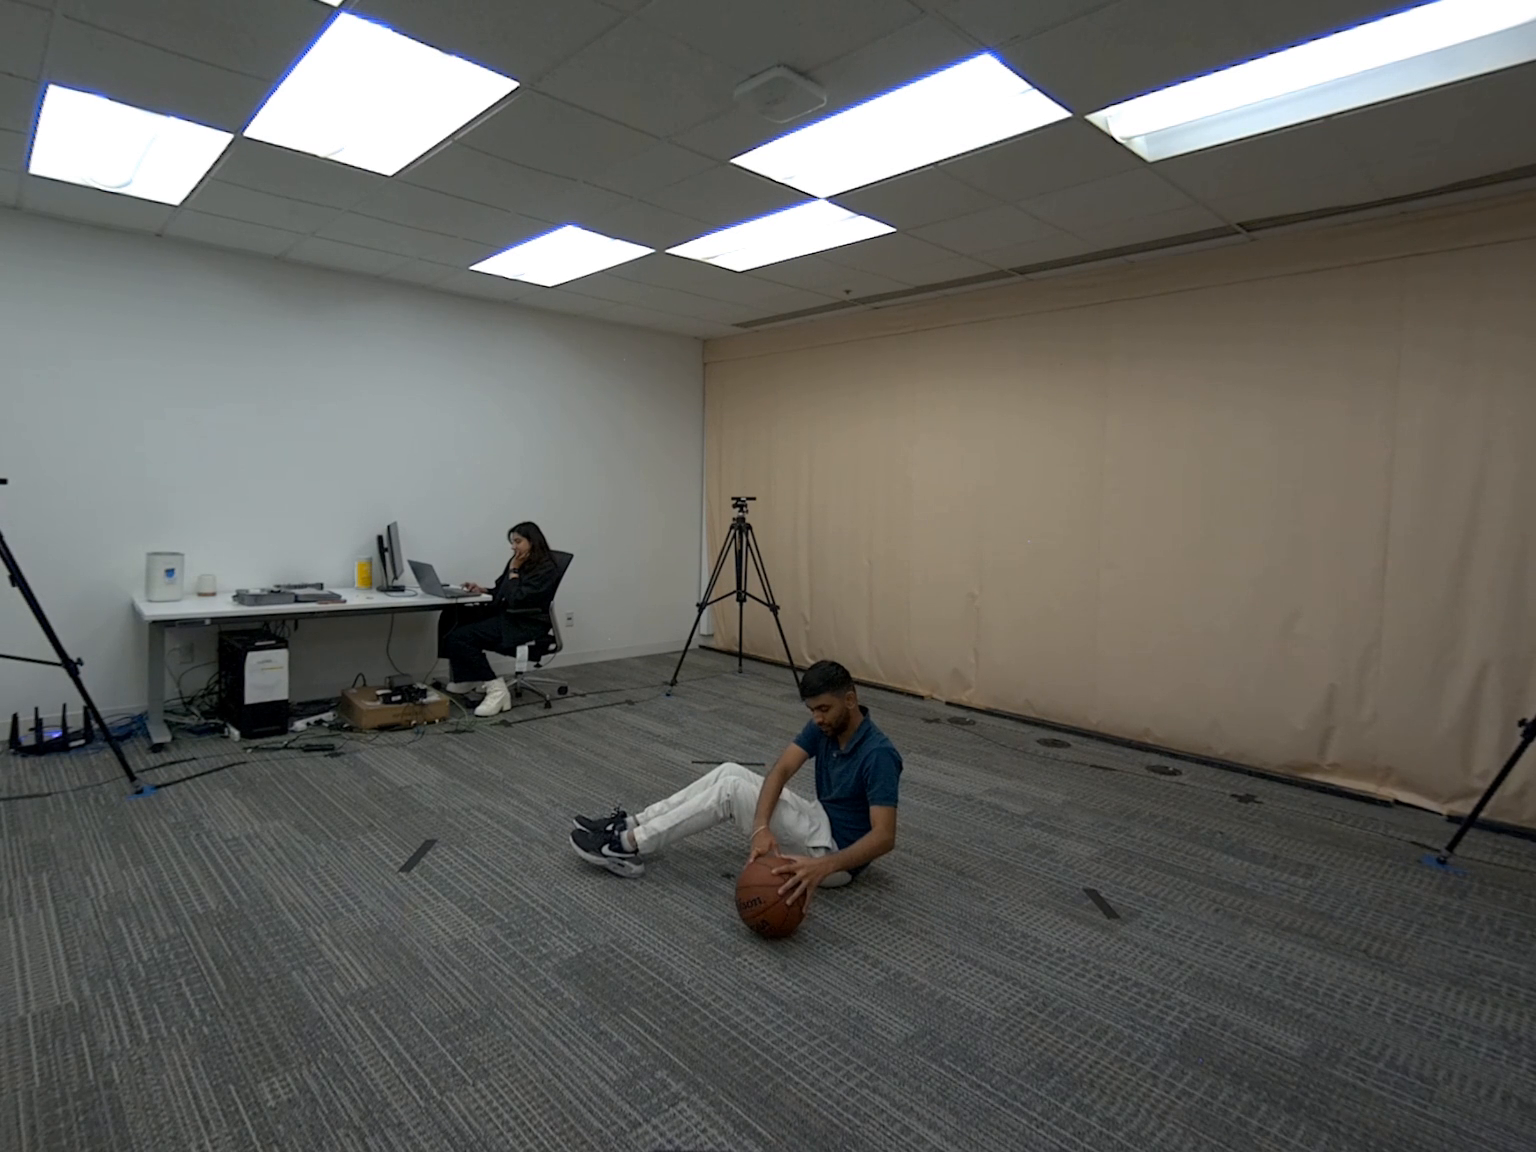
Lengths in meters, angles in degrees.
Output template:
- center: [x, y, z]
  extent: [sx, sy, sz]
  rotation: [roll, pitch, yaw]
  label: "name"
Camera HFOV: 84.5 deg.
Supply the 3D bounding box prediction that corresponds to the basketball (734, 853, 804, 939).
- center: [0.000, 1.023, 2.694]
  extent: [0.236, 0.235, 0.237]
  rotation: [1, 4, -1]
  label: "basketball"
